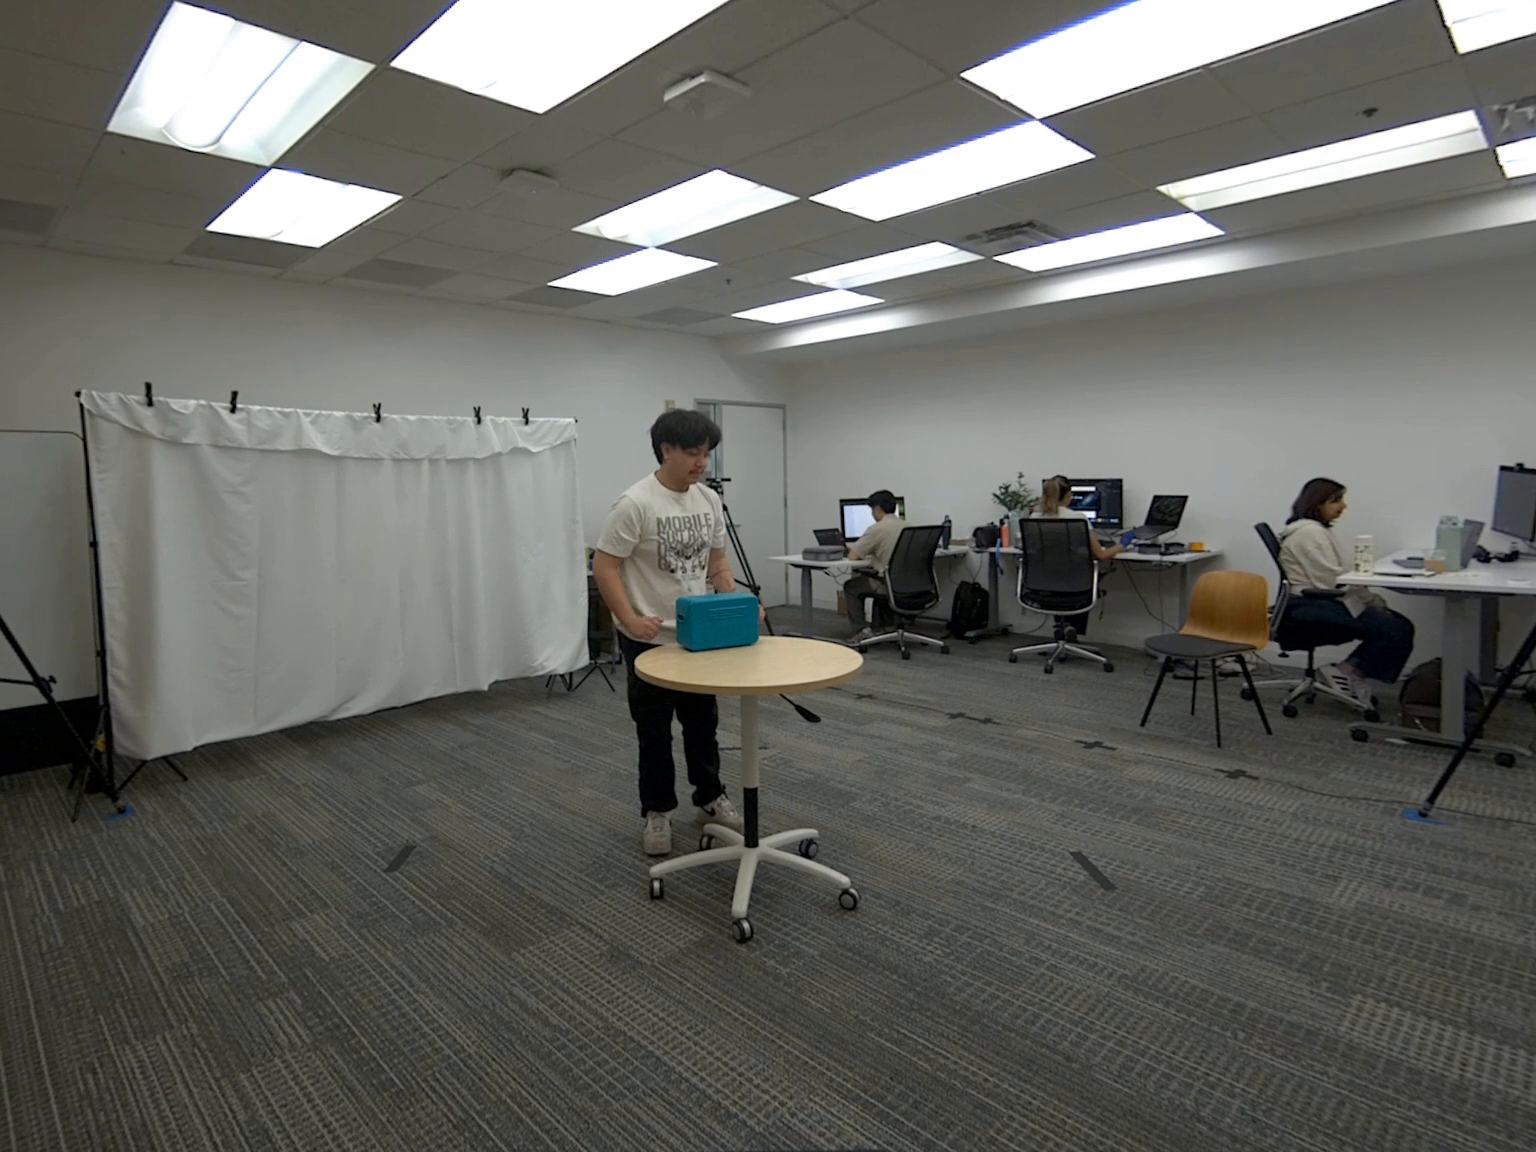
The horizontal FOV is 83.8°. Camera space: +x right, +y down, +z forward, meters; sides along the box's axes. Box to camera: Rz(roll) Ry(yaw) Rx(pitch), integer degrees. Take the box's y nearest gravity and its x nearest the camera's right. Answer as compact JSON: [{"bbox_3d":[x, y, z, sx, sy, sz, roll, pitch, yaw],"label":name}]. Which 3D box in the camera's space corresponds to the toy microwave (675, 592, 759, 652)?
[{"bbox_3d":[-0.185,0.164,3.084,0.280,0.183,0.156,-4,6,-26],"label":"toy microwave"}]
